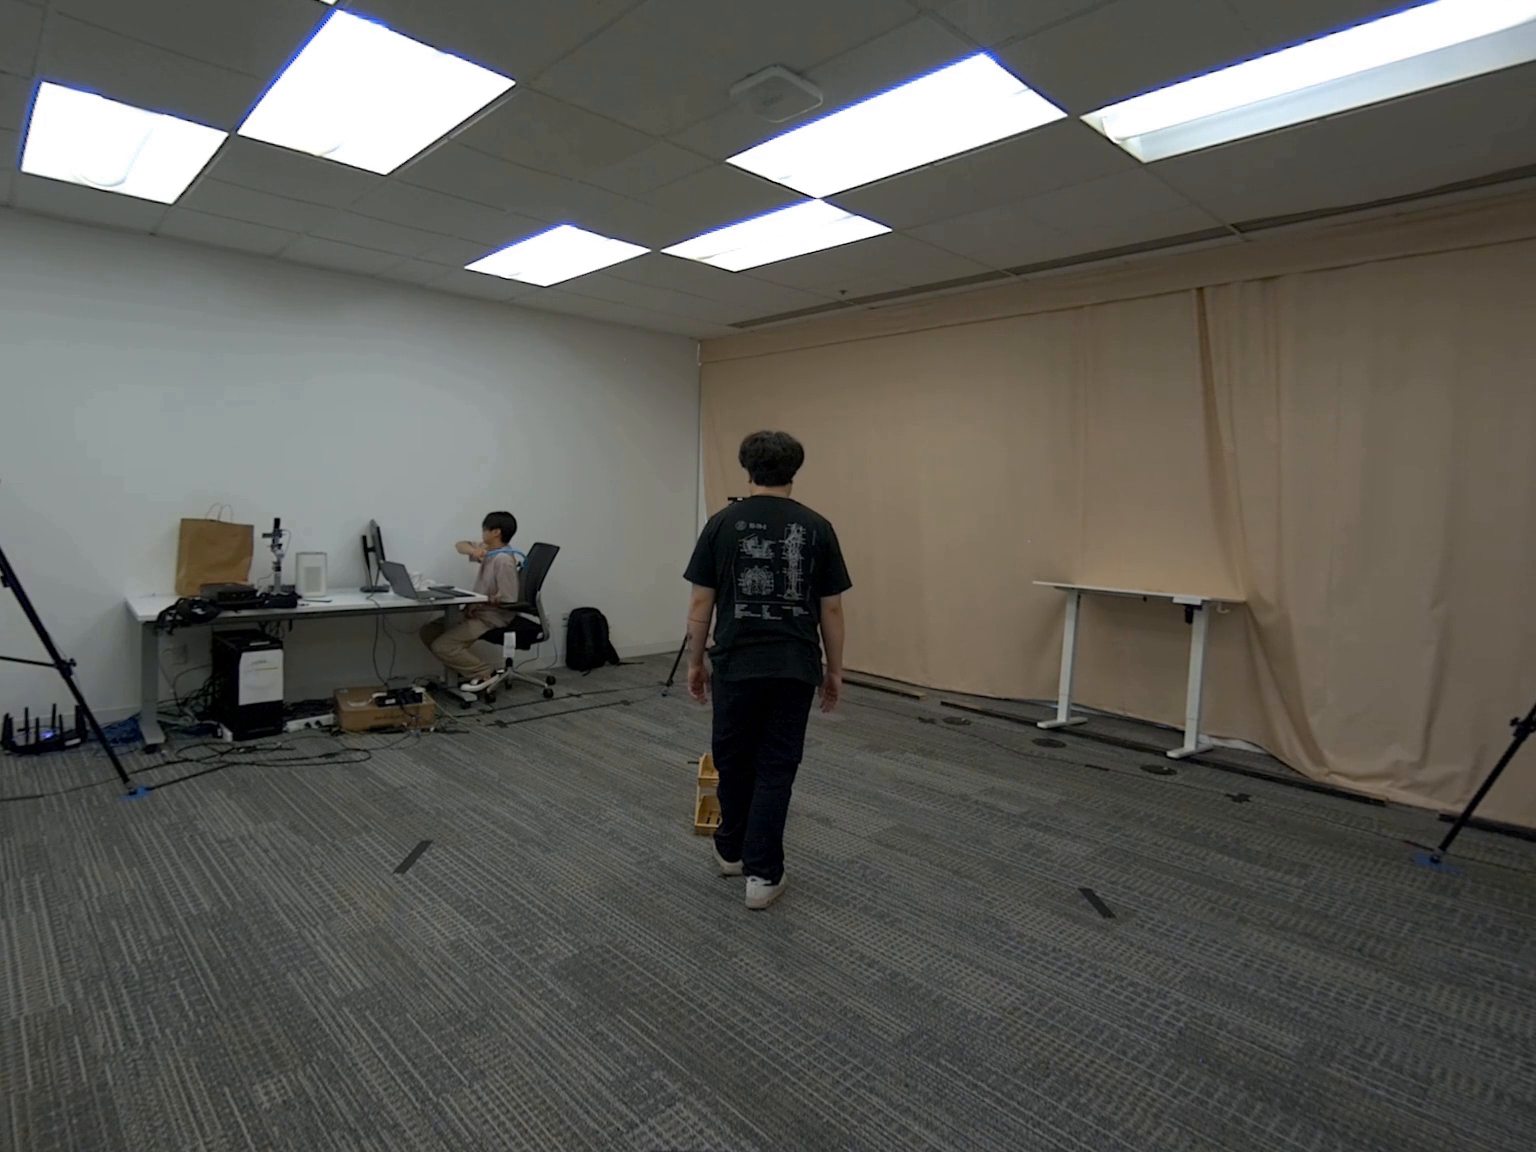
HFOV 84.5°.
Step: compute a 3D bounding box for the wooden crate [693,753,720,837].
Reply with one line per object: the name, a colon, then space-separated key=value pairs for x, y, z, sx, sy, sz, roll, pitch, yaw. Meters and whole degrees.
wooden crate: x=-0.149 y=0.936 z=3.593 sx=0.326 sy=0.272 sz=0.302 roll=2 pitch=4 yaw=4
